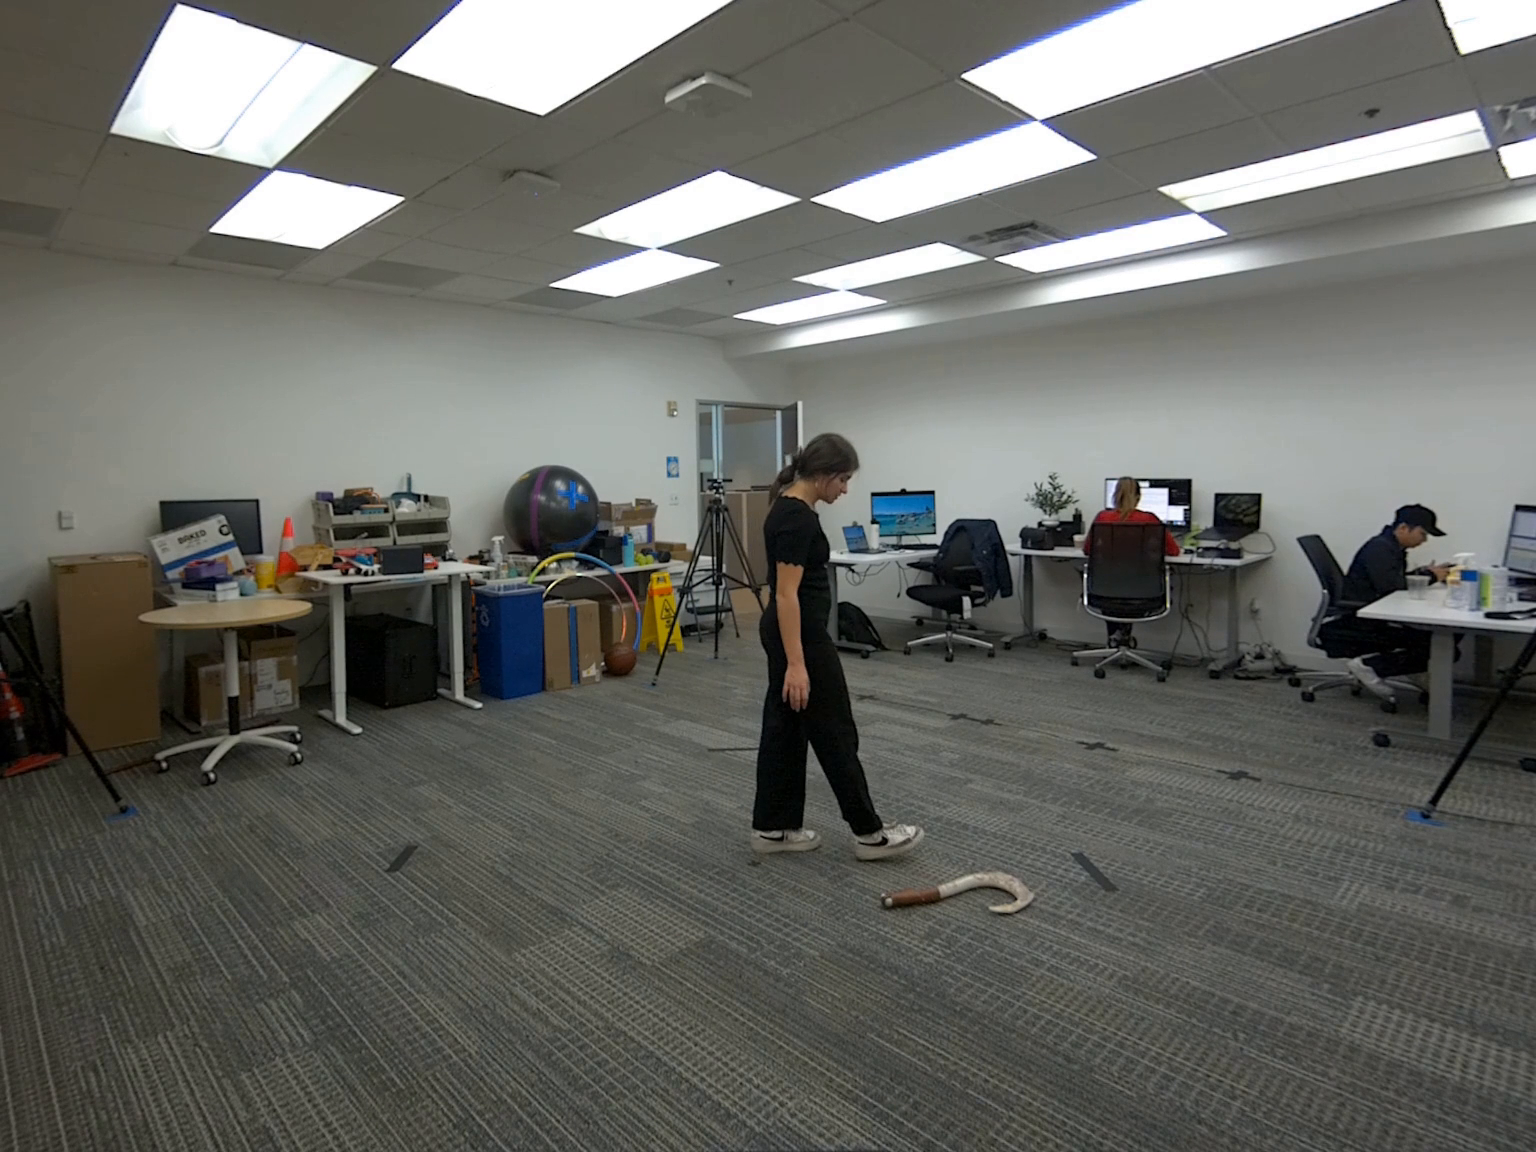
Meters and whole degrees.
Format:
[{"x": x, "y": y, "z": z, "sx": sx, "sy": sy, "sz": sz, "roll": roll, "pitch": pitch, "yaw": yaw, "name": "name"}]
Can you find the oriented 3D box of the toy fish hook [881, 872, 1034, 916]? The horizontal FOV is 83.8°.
[{"x": 0.627, "y": 1.049, "z": 2.781, "sx": 0.499, "sy": 0.048, "sz": 0.229, "roll": -3, "pitch": 6, "yaw": -16, "name": "toy fish hook"}]
